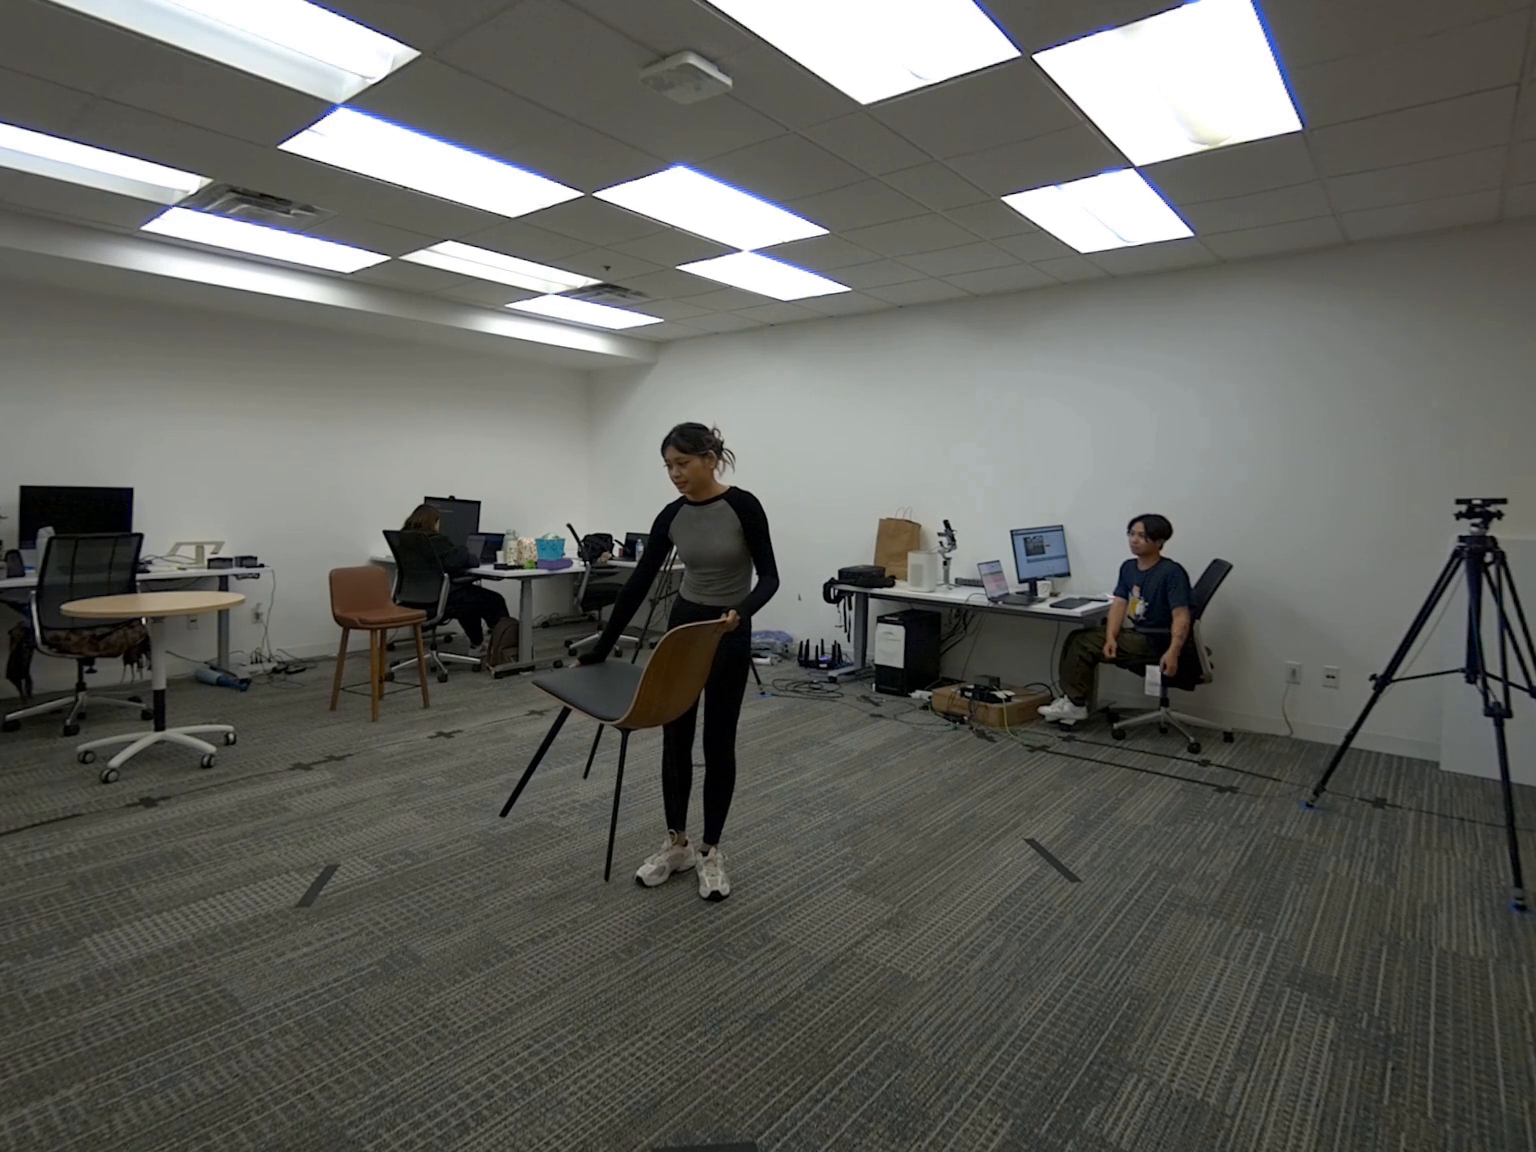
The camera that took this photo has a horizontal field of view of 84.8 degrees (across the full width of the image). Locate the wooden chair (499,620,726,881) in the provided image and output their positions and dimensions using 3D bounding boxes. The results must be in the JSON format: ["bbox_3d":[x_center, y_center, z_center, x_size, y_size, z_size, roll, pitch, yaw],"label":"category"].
[{"bbox_3d":[-0.501,0.442,2.810,0.540,0.871,0.467,24,13,24],"label":"wooden chair"}]
